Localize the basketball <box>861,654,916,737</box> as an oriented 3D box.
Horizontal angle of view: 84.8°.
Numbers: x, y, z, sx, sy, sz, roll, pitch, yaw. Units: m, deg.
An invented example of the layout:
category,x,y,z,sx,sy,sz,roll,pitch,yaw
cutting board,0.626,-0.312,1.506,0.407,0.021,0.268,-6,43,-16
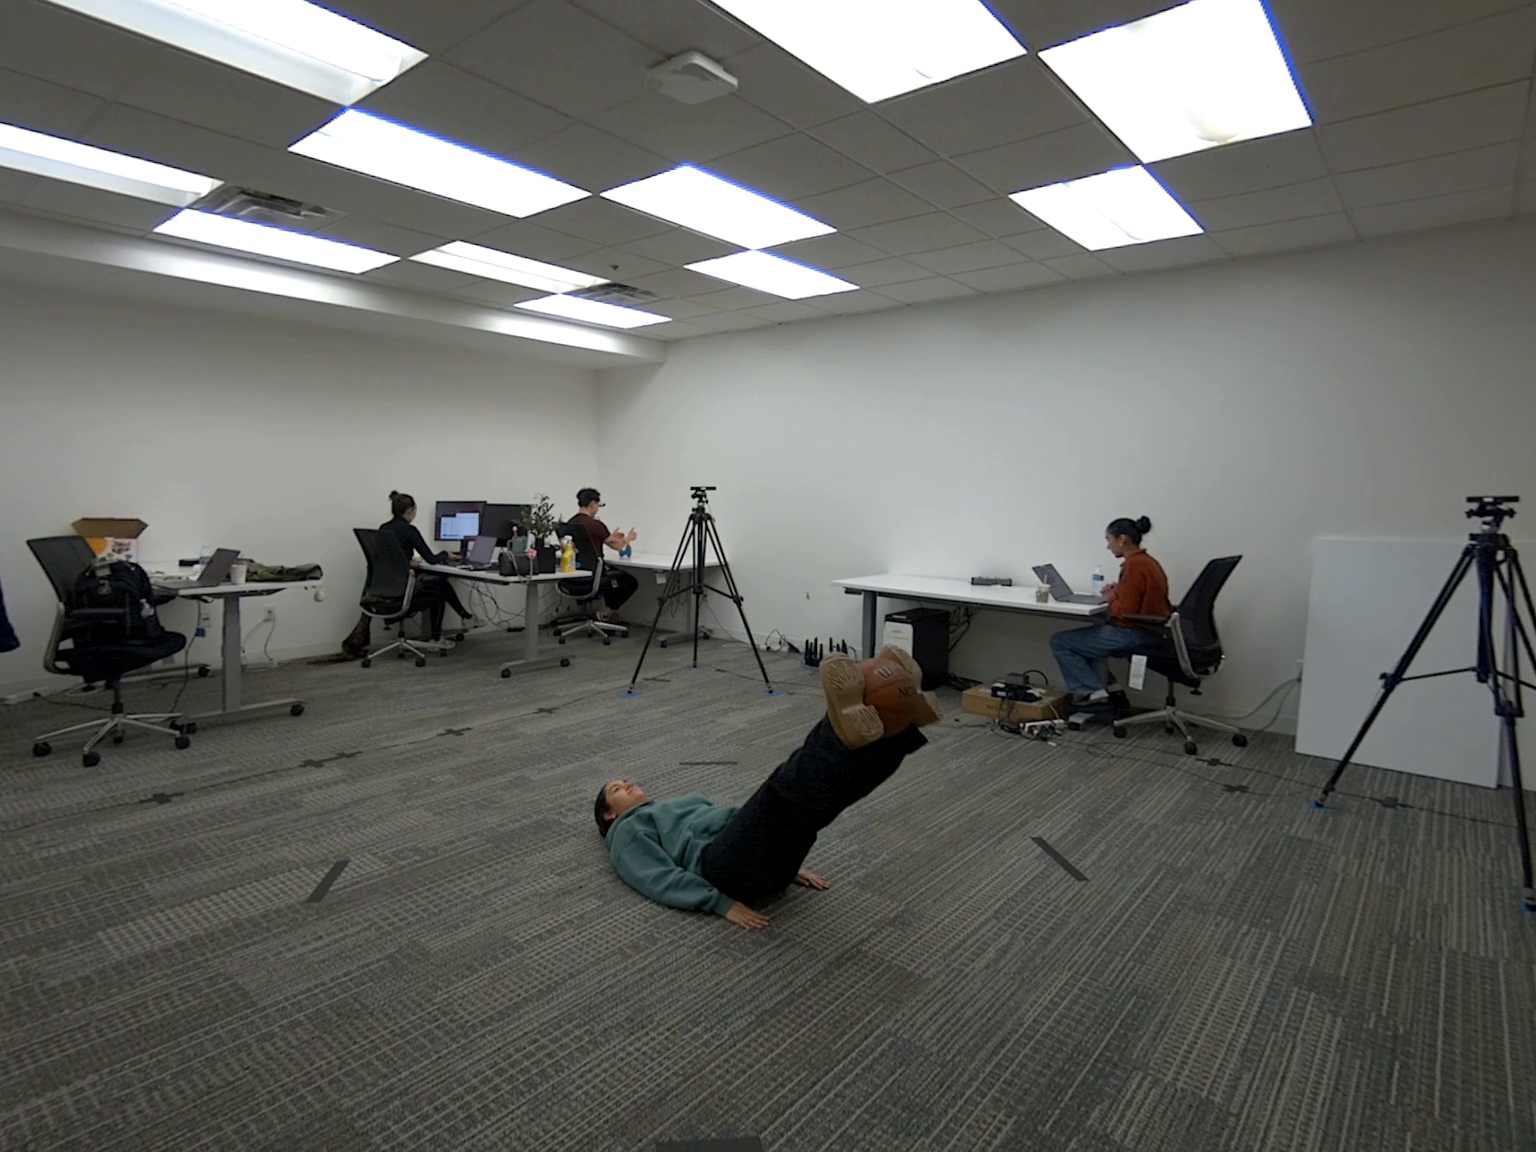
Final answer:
category,x,y,z,sx,sy,sz,roll,pitch,yaw
basketball,0.328,0.369,2.562,0.236,0.235,0.237,0,4,-2
